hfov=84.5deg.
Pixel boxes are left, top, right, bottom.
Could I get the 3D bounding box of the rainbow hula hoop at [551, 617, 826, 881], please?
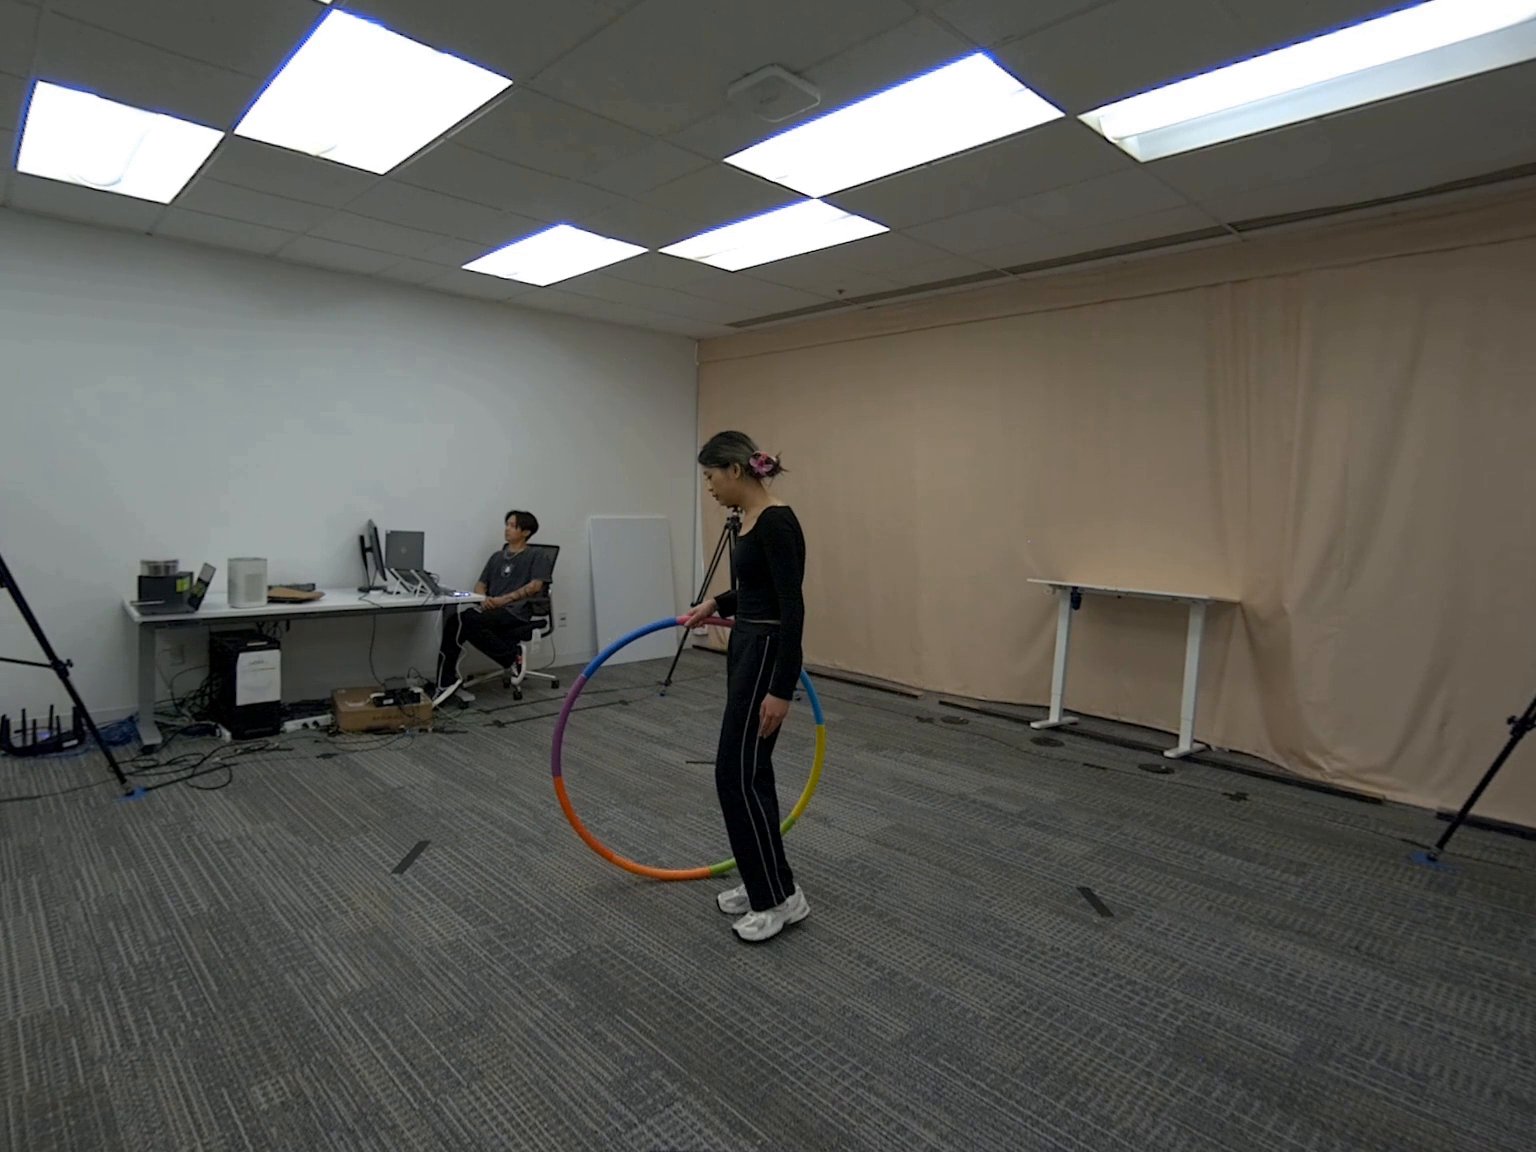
[{"bbox_3d":[-0.274,0.625,3.035,0.969,0.975,0.036,0,5,-11],"label":"rainbow hula hoop"}]
